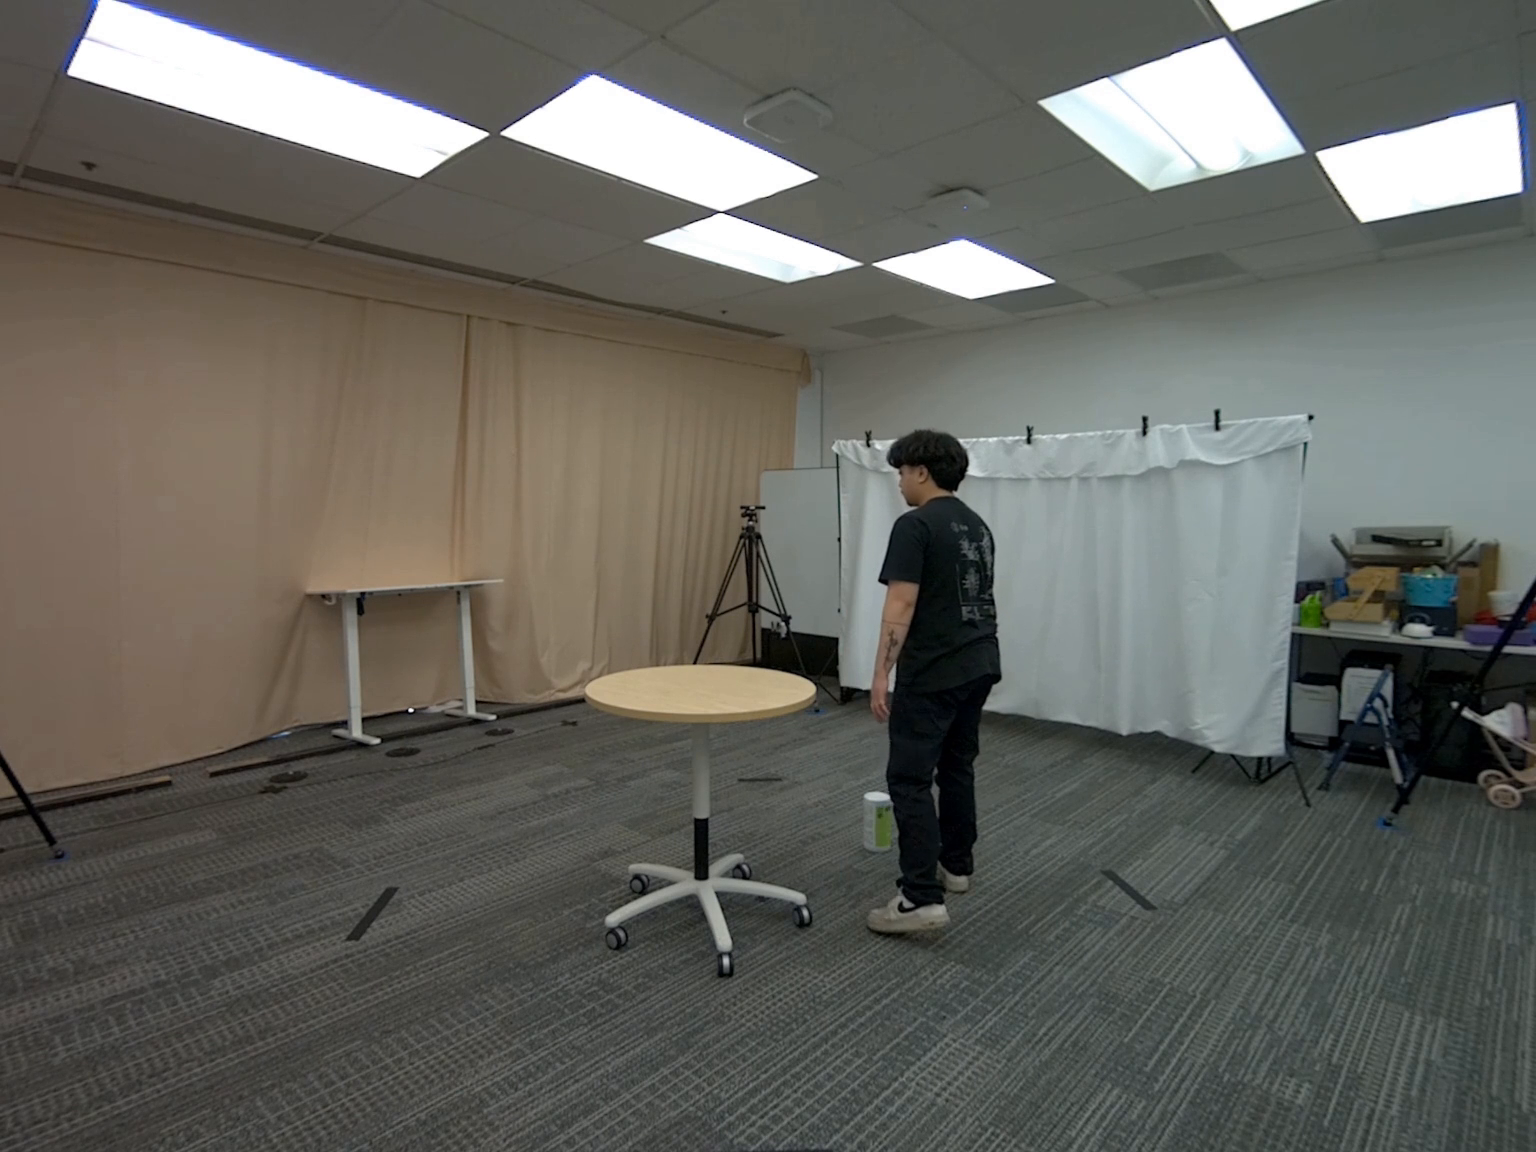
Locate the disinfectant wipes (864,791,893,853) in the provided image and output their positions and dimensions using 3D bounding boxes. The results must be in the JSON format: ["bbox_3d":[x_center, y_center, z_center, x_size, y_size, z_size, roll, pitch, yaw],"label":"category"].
[{"bbox_3d":[0.440,0.991,3.427,0.118,0.217,0.118,0,4,-2],"label":"disinfectant wipes"}]
